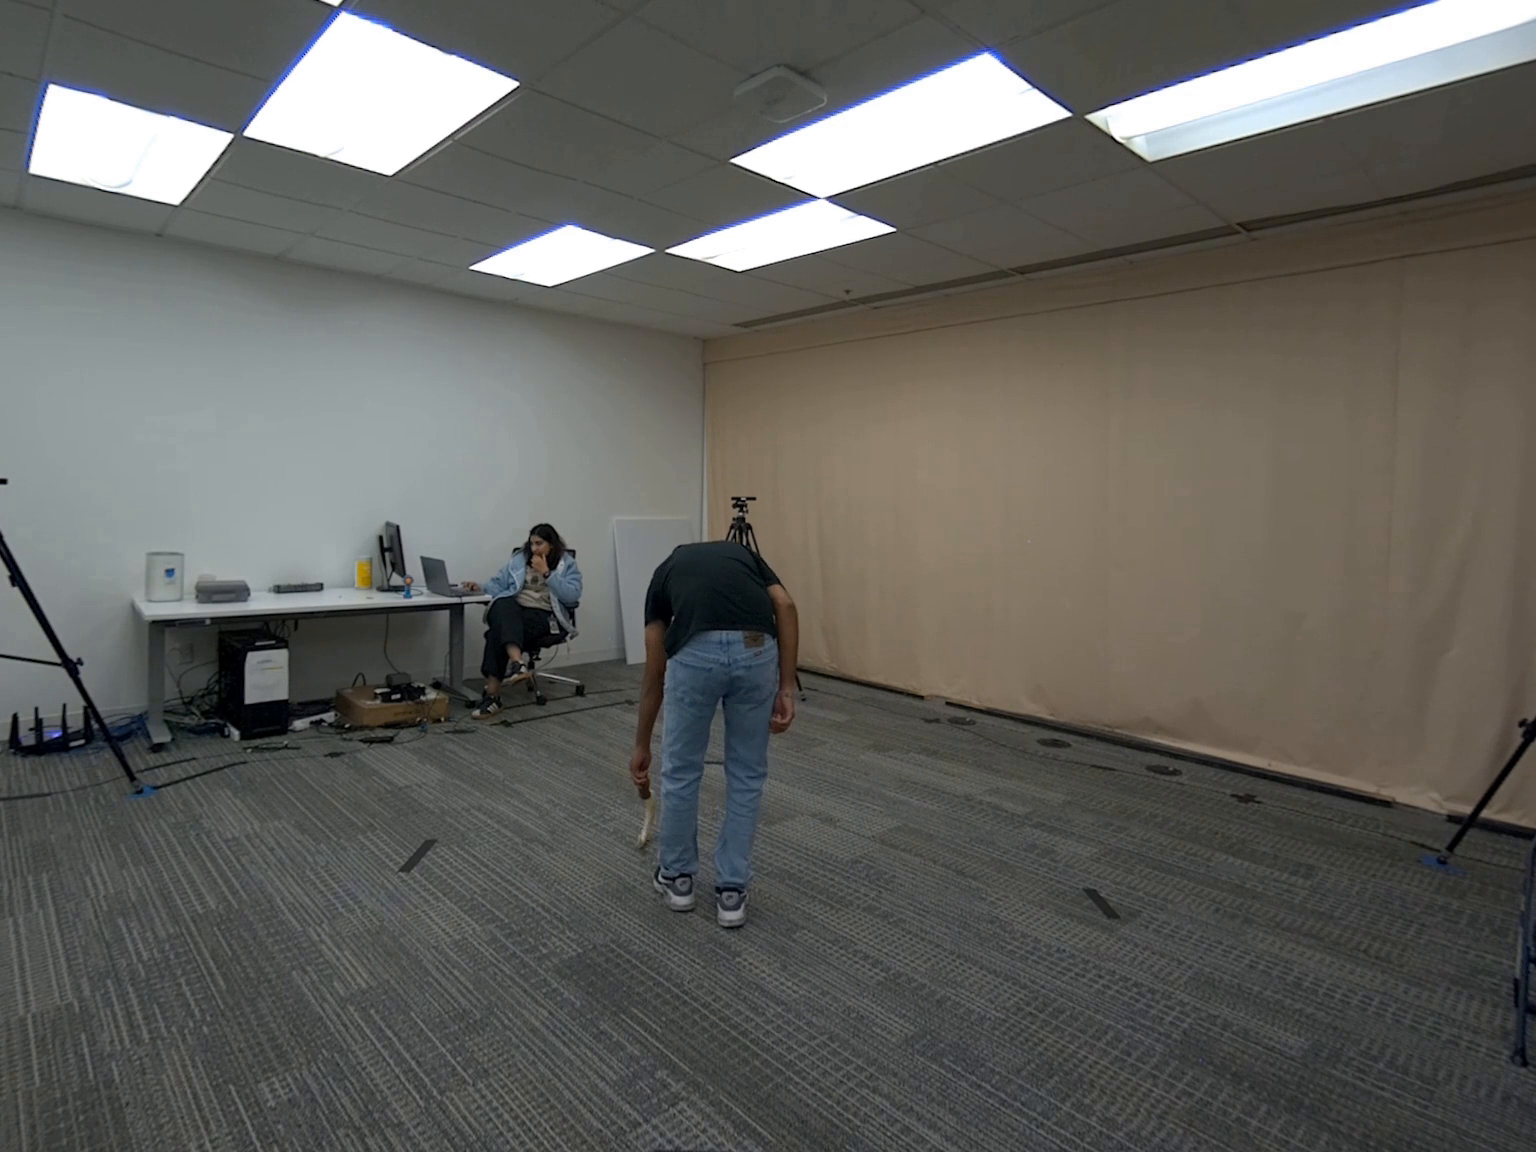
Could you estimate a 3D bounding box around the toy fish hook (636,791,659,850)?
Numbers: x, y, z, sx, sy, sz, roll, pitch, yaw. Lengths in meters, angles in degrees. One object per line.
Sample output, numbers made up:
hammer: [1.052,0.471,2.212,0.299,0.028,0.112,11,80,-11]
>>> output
toy fish hook: [-0.484,0.902,3.222,0.048,0.228,0.496,5,-34,2]
